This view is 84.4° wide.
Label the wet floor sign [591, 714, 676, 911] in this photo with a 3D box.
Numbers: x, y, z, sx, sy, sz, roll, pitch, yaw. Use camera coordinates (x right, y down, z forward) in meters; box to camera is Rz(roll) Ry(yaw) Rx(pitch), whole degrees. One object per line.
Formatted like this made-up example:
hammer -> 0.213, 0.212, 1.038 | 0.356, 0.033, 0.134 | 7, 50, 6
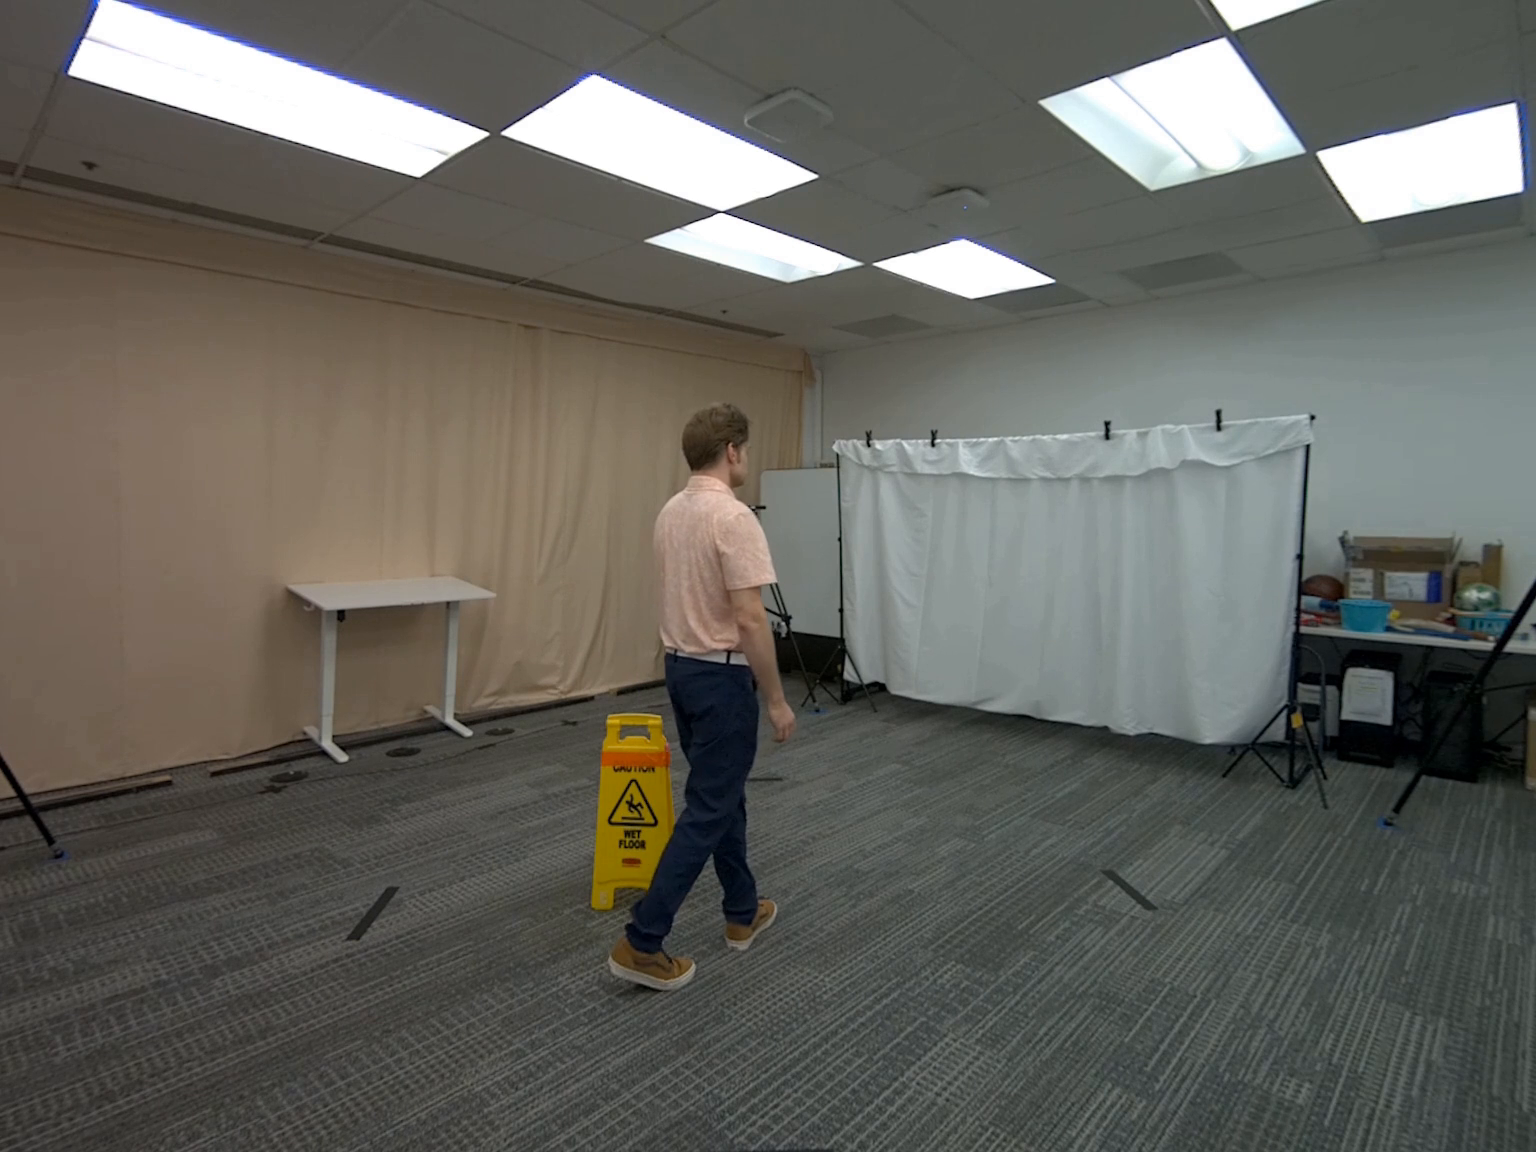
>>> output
wet floor sign -> -0.474, 0.819, 3.014 | 0.283, 0.645, 0.289 | 1, 3, 2
